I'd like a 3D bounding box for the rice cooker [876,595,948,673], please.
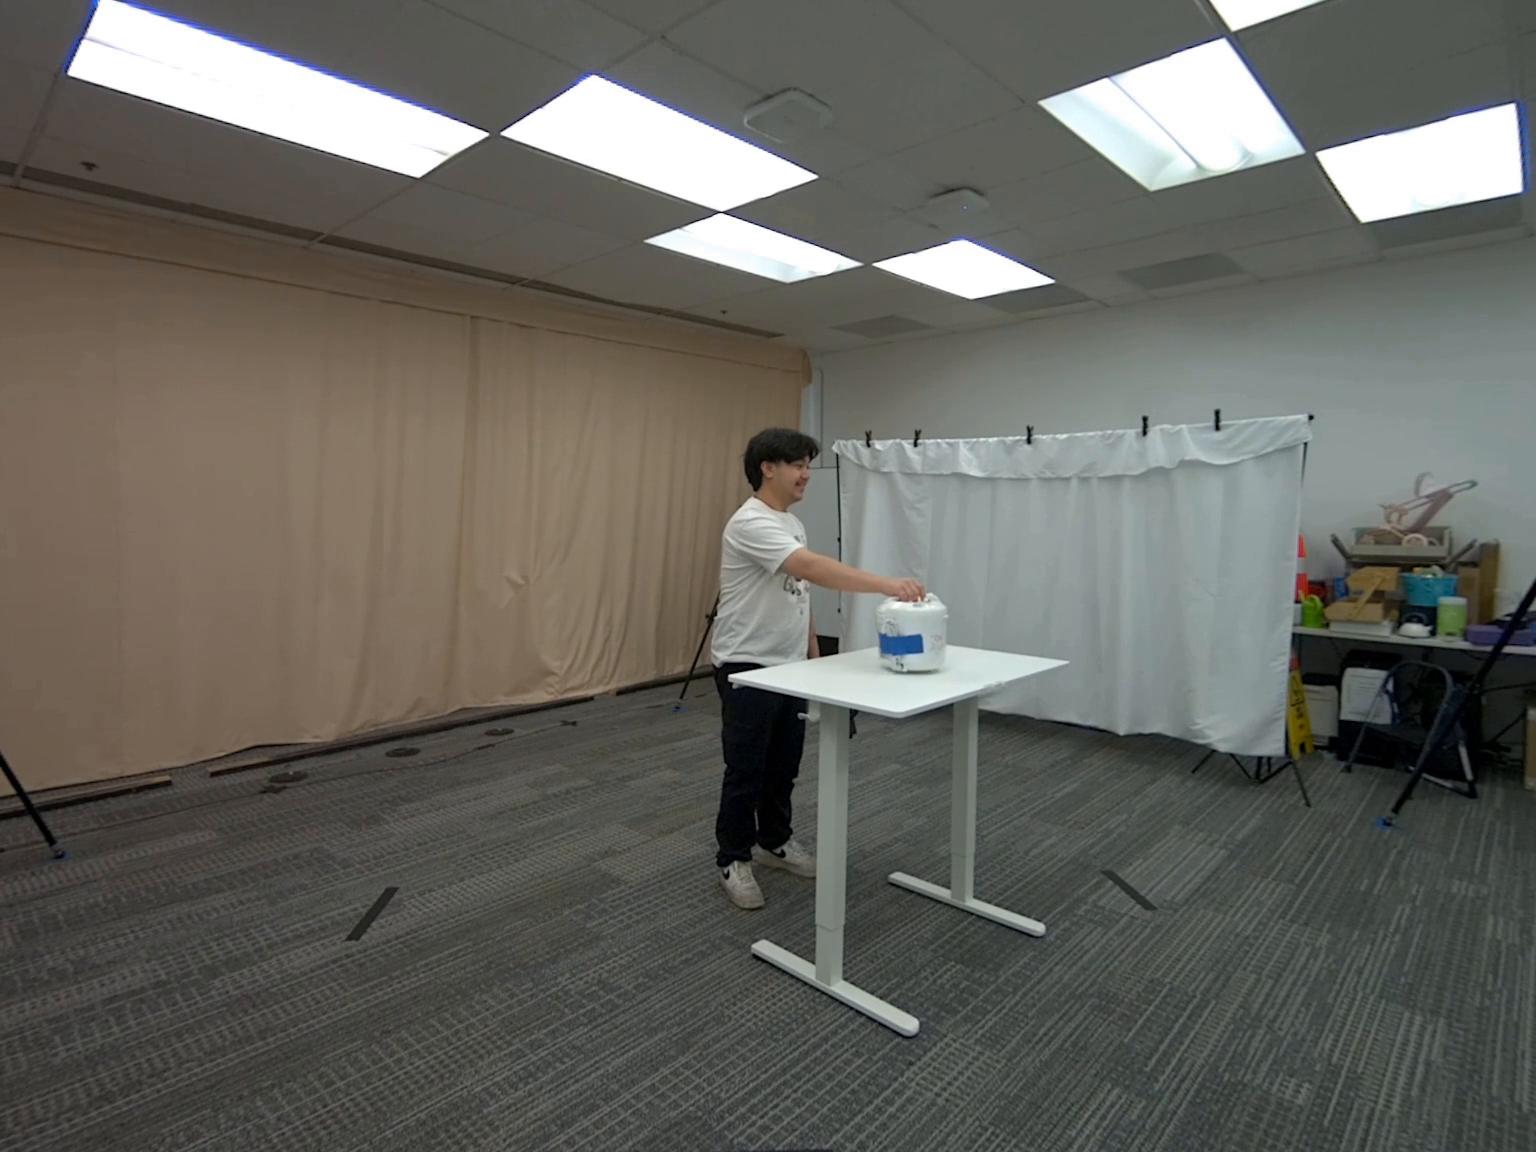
[{"bbox_3d":[0.451,0.163,2.600,0.219,0.232,0.220,0,5,-8],"label":"rice cooker"}]
